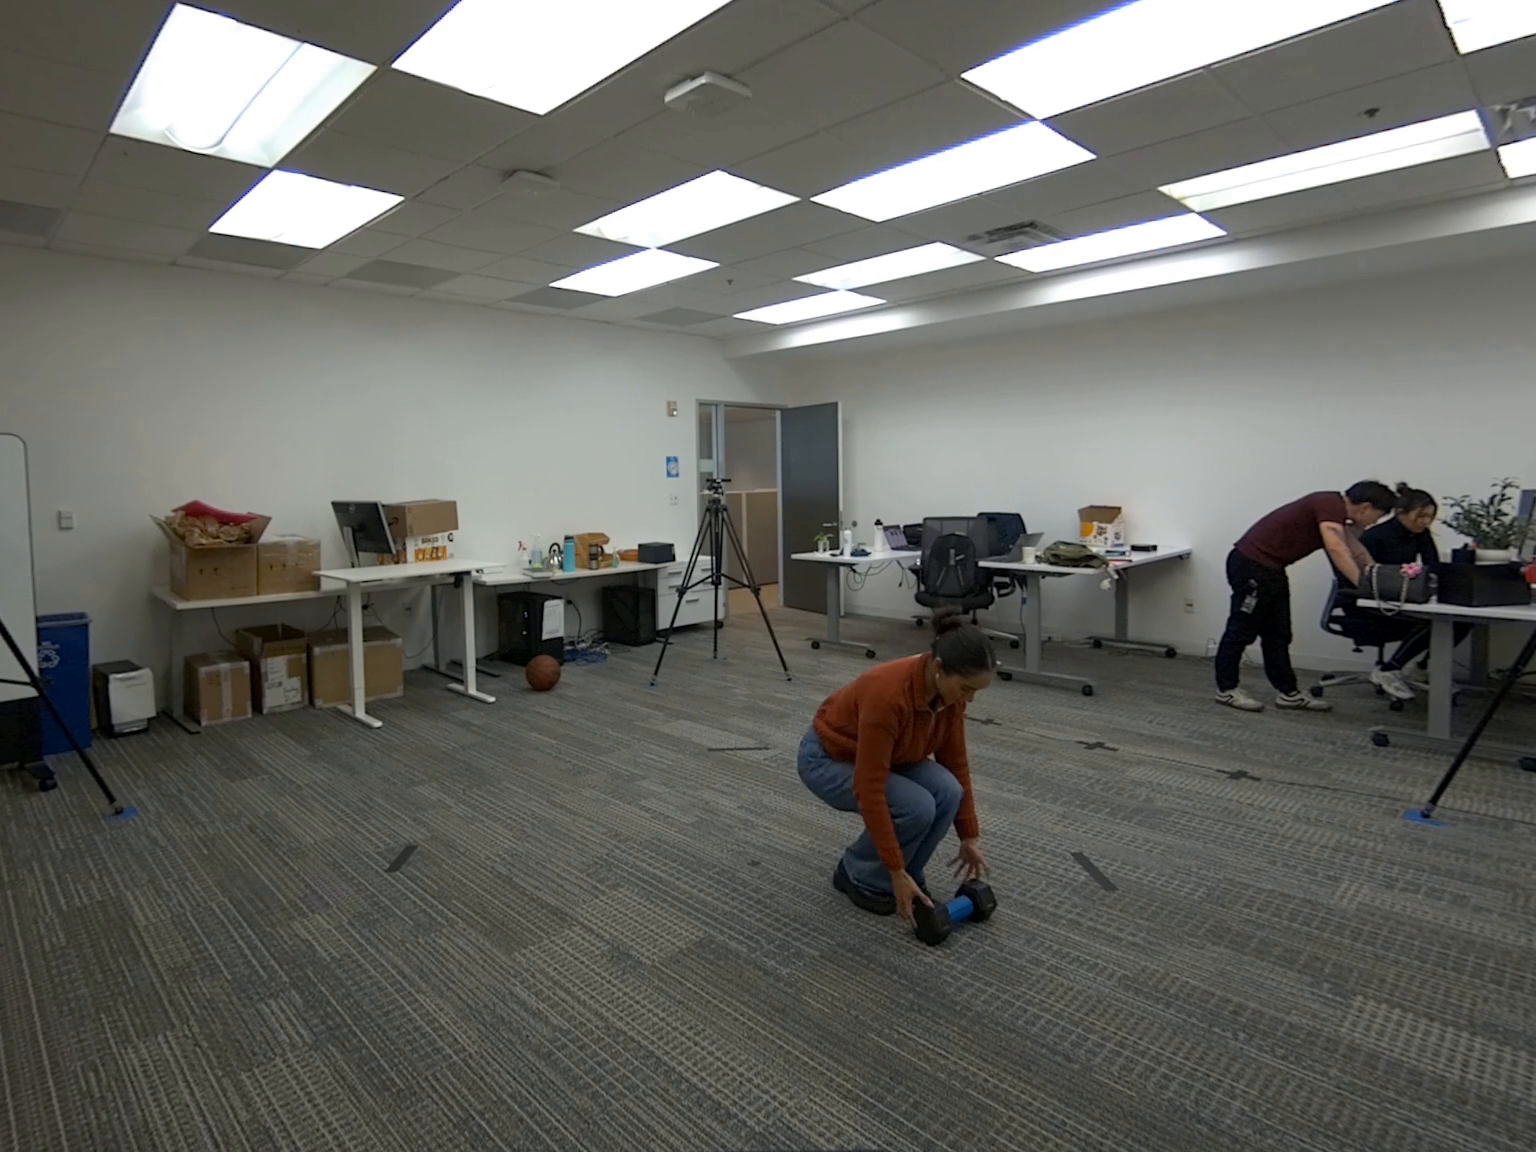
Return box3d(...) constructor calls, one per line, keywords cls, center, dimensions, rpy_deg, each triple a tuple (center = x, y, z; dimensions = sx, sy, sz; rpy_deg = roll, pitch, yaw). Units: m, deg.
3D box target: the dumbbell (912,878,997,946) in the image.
box3d(cls="dumbbell", center=(0.577, 1.031, 2.632), dimensions=(0.286, 0.121, 0.113), rpy_deg=(-5, 36, -37))
